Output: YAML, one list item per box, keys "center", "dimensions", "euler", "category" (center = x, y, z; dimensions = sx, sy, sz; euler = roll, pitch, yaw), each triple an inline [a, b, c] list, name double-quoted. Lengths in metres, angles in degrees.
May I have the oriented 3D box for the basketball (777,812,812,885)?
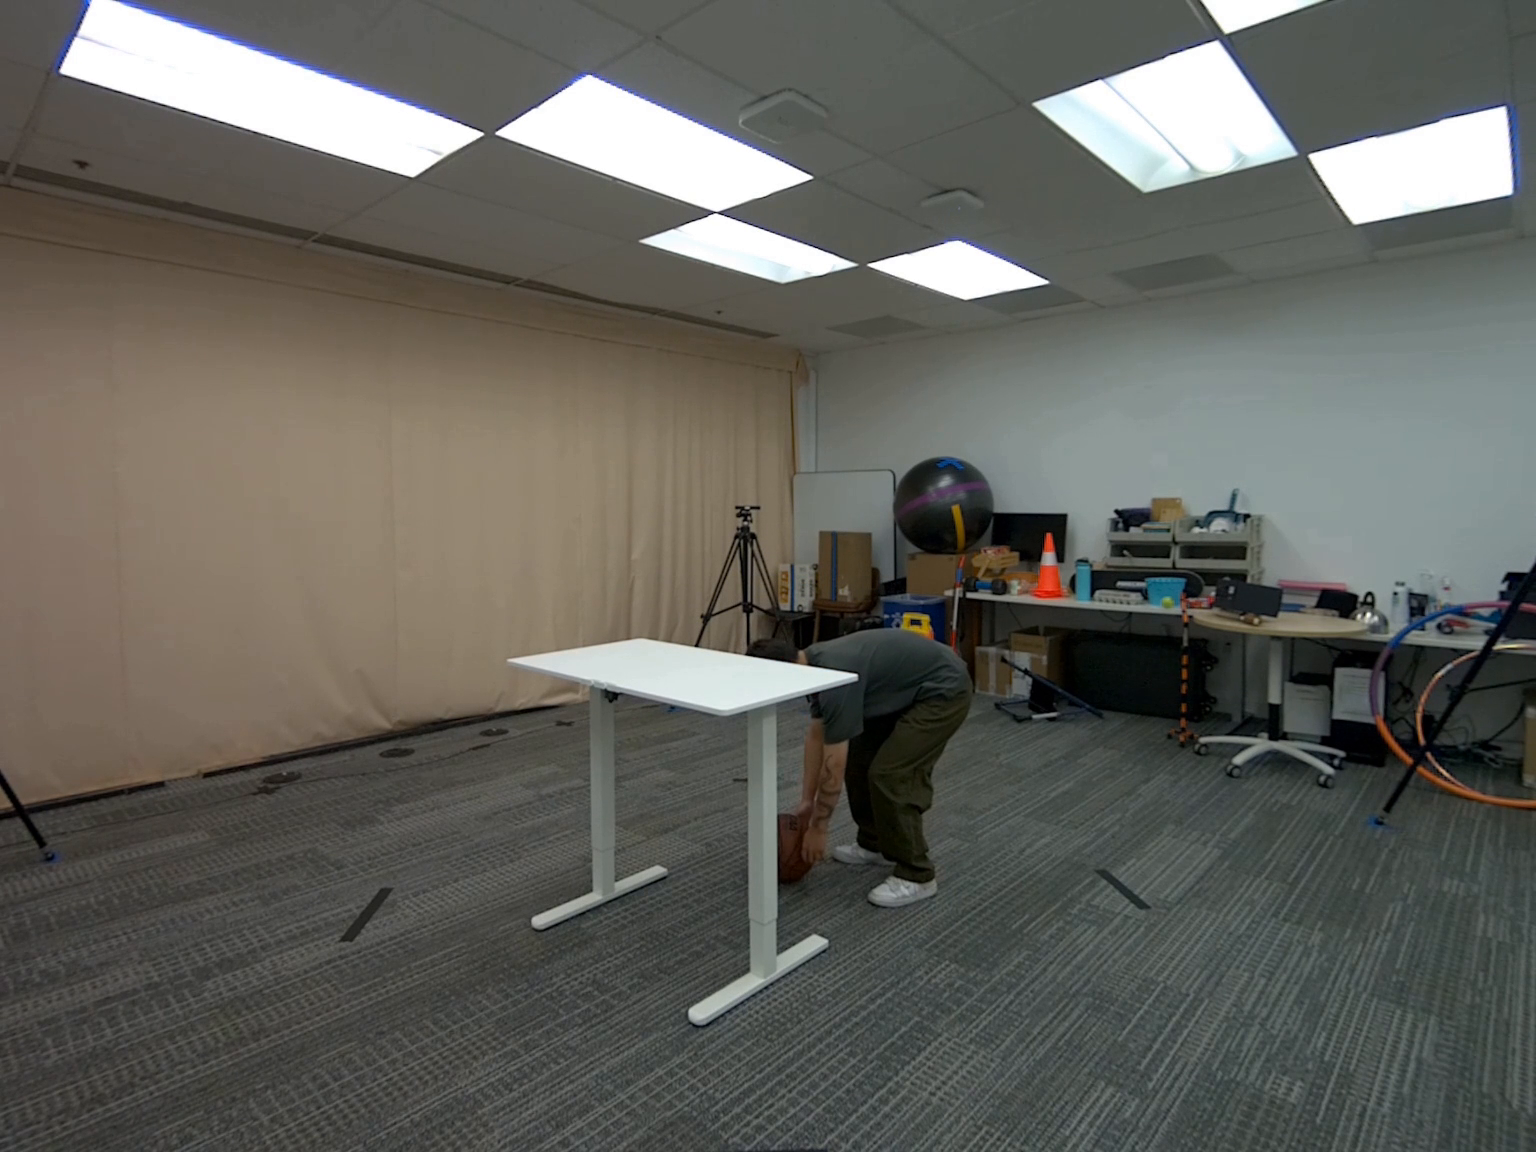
- center: [0.072, 1.014, 3.141]
  dimensions: [0.236, 0.235, 0.237]
  euler: [0, 4, -2]
  category: "basketball"
